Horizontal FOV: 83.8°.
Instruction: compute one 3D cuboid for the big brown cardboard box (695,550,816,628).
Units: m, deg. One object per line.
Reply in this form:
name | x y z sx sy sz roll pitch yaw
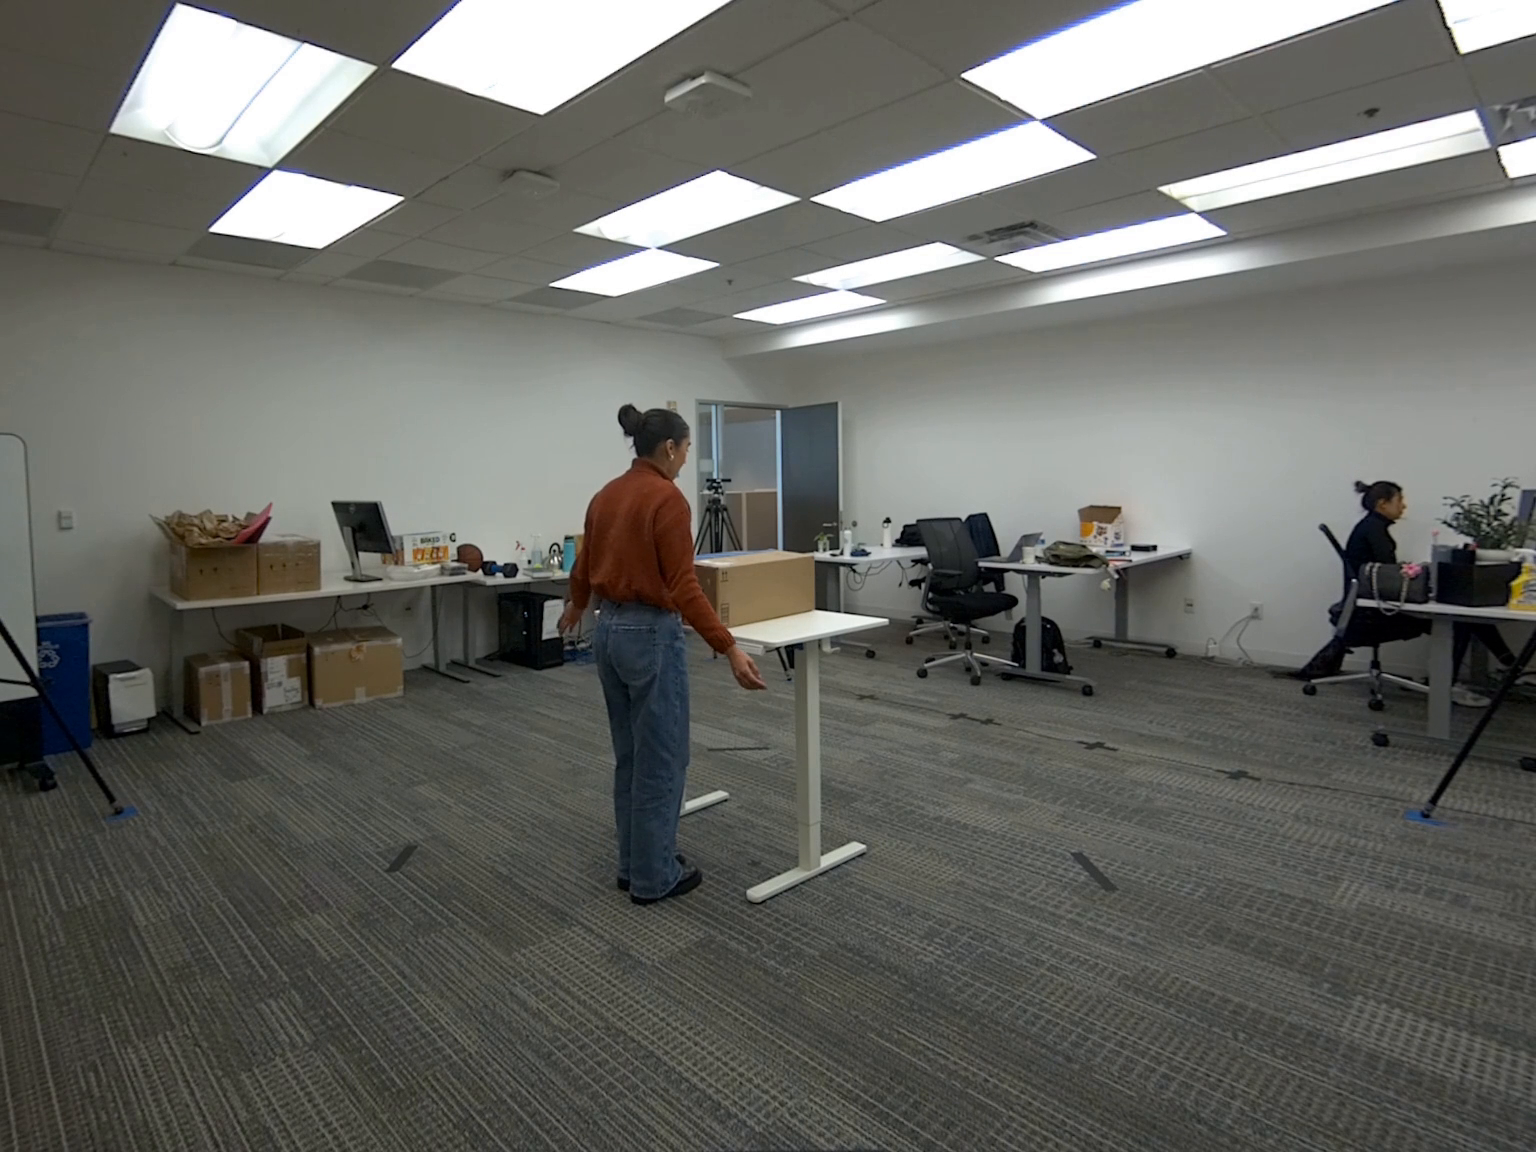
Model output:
big brown cardboard box | -0.154 0.038 3.248 0.430 0.232 0.573 4 6 40
